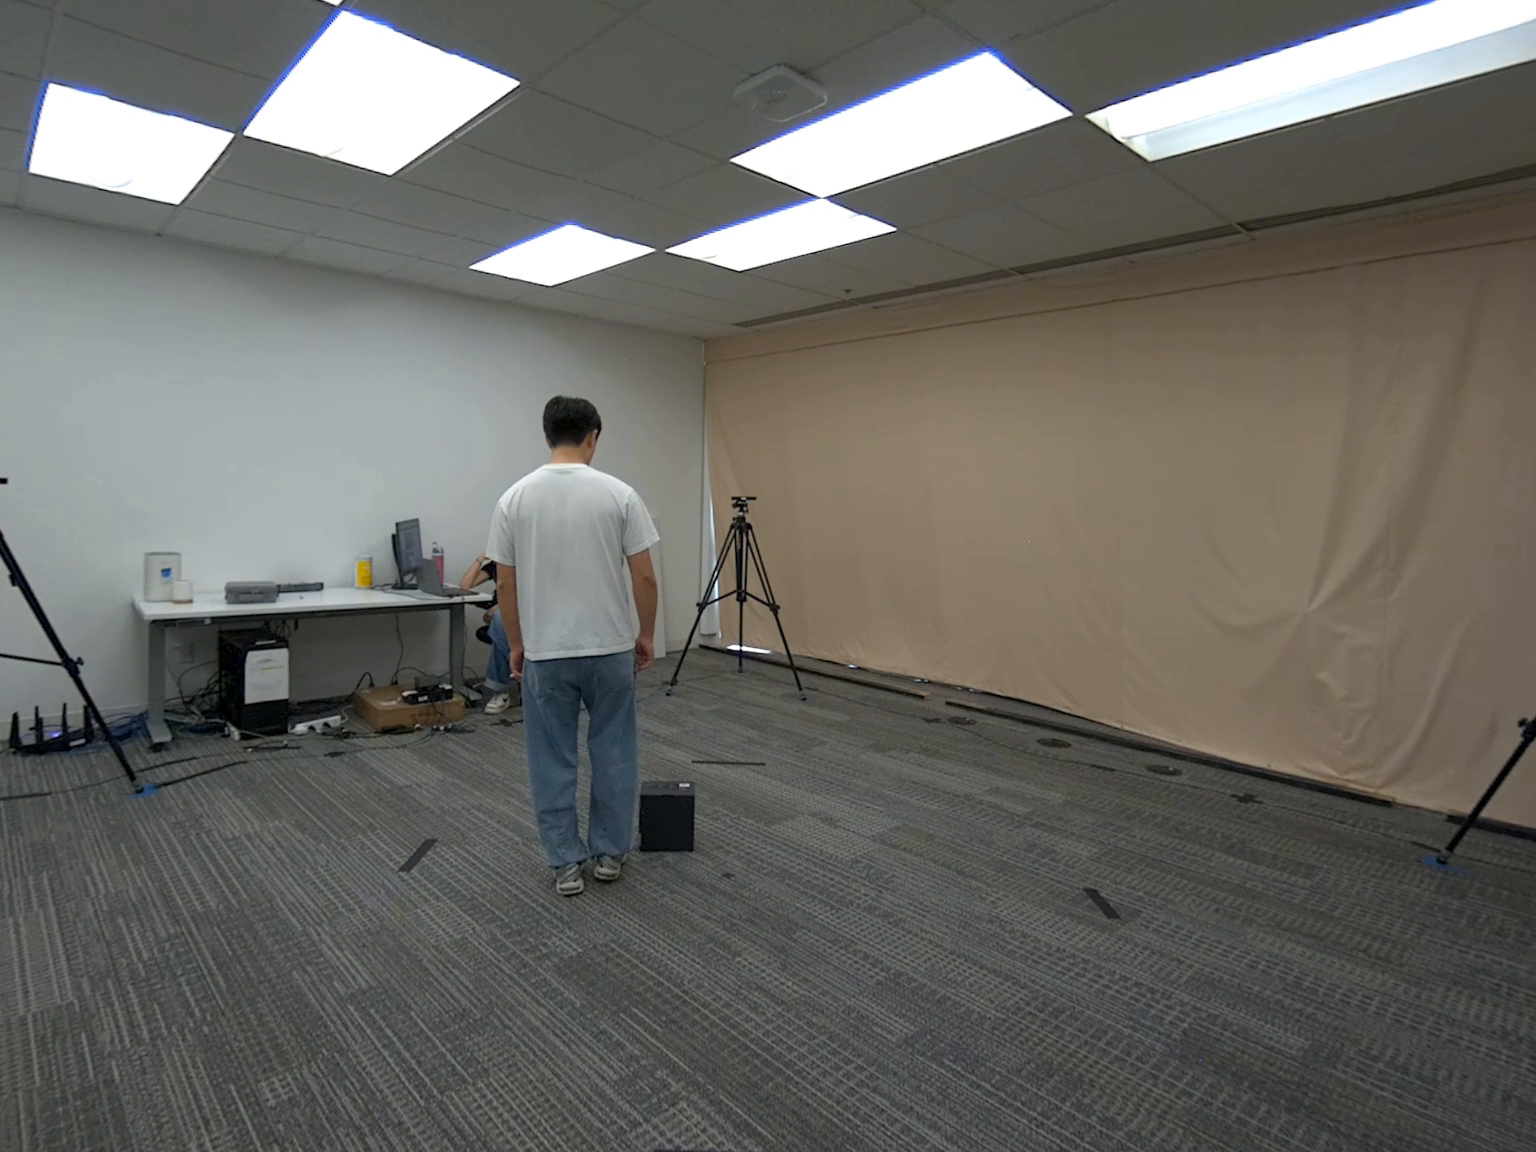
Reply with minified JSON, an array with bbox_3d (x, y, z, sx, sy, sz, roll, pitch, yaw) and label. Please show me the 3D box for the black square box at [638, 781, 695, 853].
[{"bbox_3d":[-0.408,0.956,3.370,0.216,0.227,0.157,2,4,-5],"label":"black square box"}]
